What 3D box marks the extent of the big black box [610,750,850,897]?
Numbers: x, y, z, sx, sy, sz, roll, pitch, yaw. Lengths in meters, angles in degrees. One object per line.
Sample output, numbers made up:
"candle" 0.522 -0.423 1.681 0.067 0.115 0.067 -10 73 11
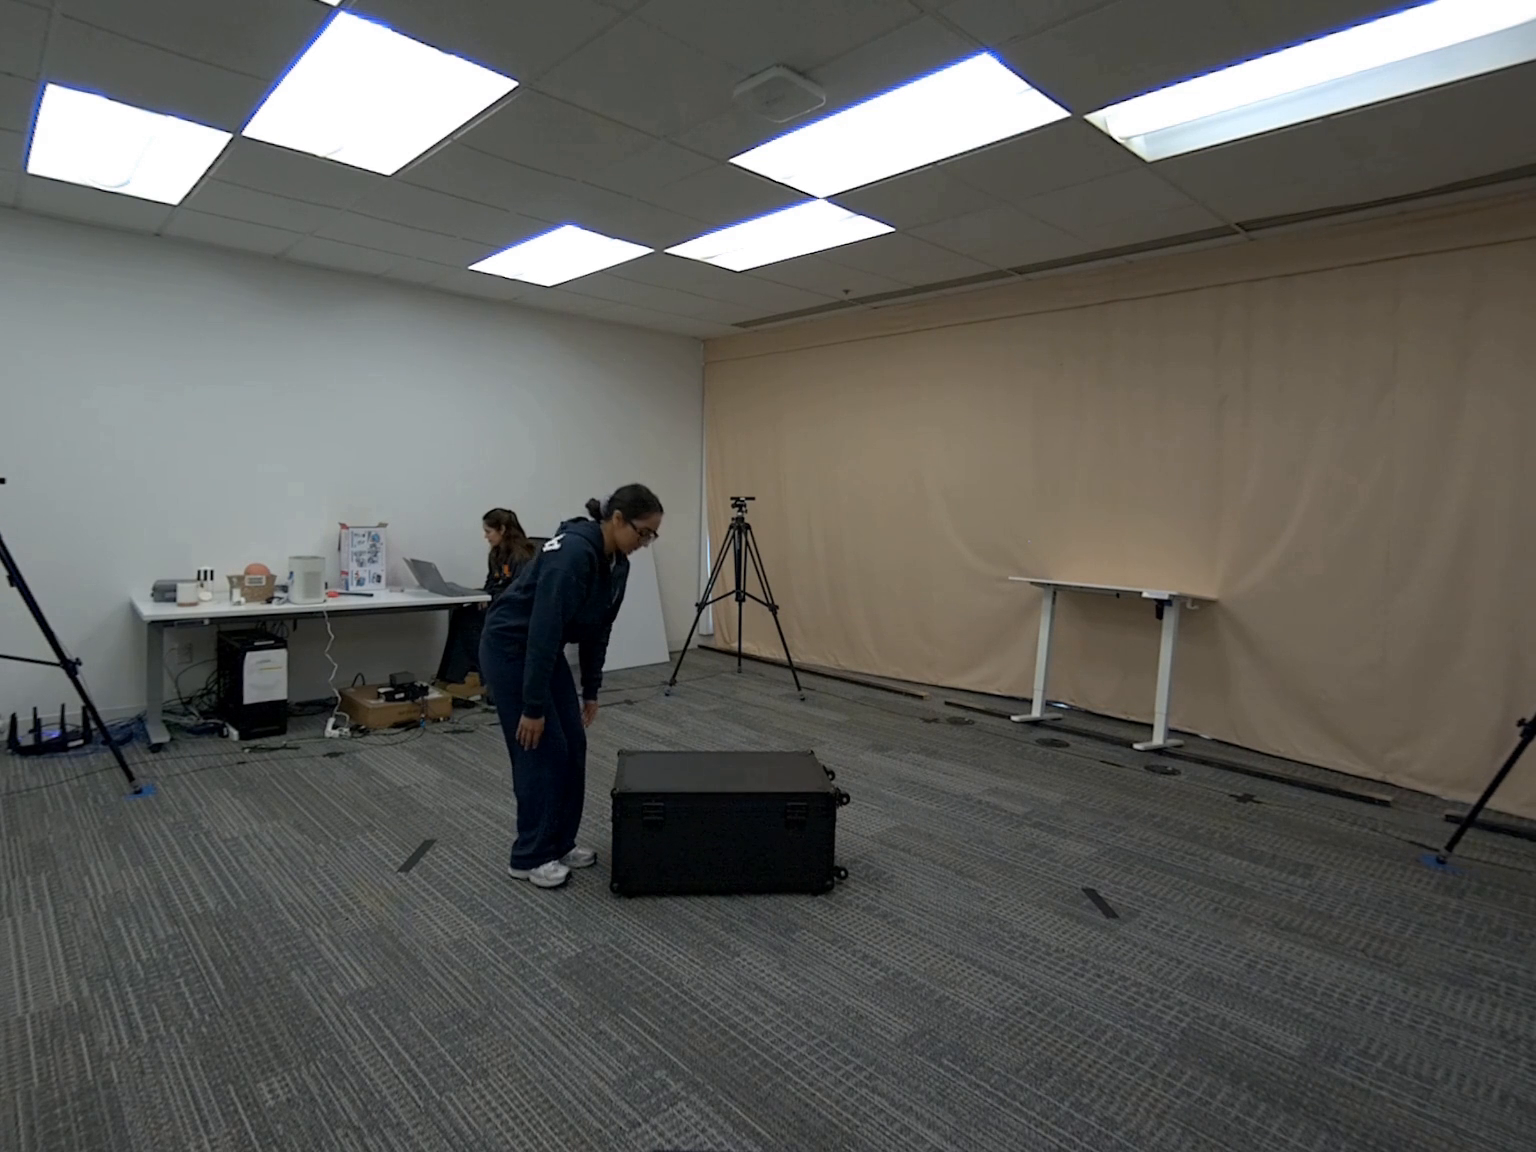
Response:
"big black box" -0.151 0.903 3.157 0.857 0.395 0.525 0 4 -6
